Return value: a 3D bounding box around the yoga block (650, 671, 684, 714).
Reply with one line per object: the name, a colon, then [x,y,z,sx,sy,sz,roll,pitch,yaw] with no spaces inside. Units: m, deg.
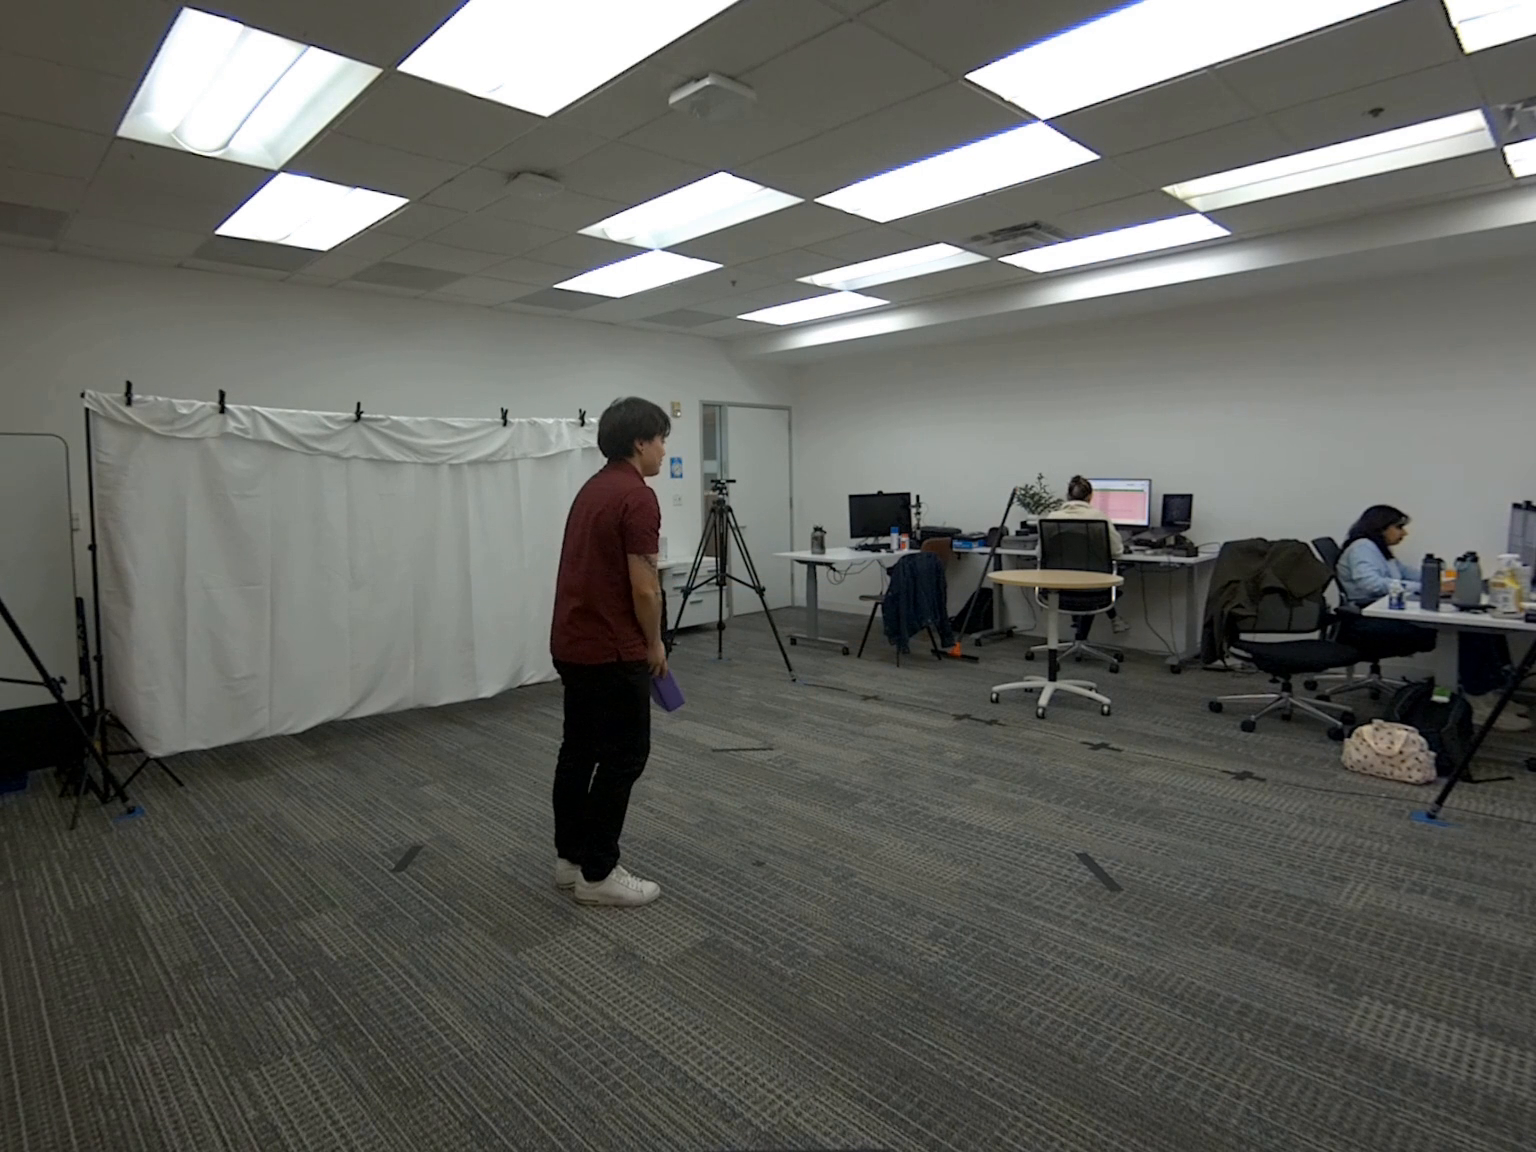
yoga block: [-0.362,0.343,3.027,0.076,0.226,0.152,-28,14,-20]
